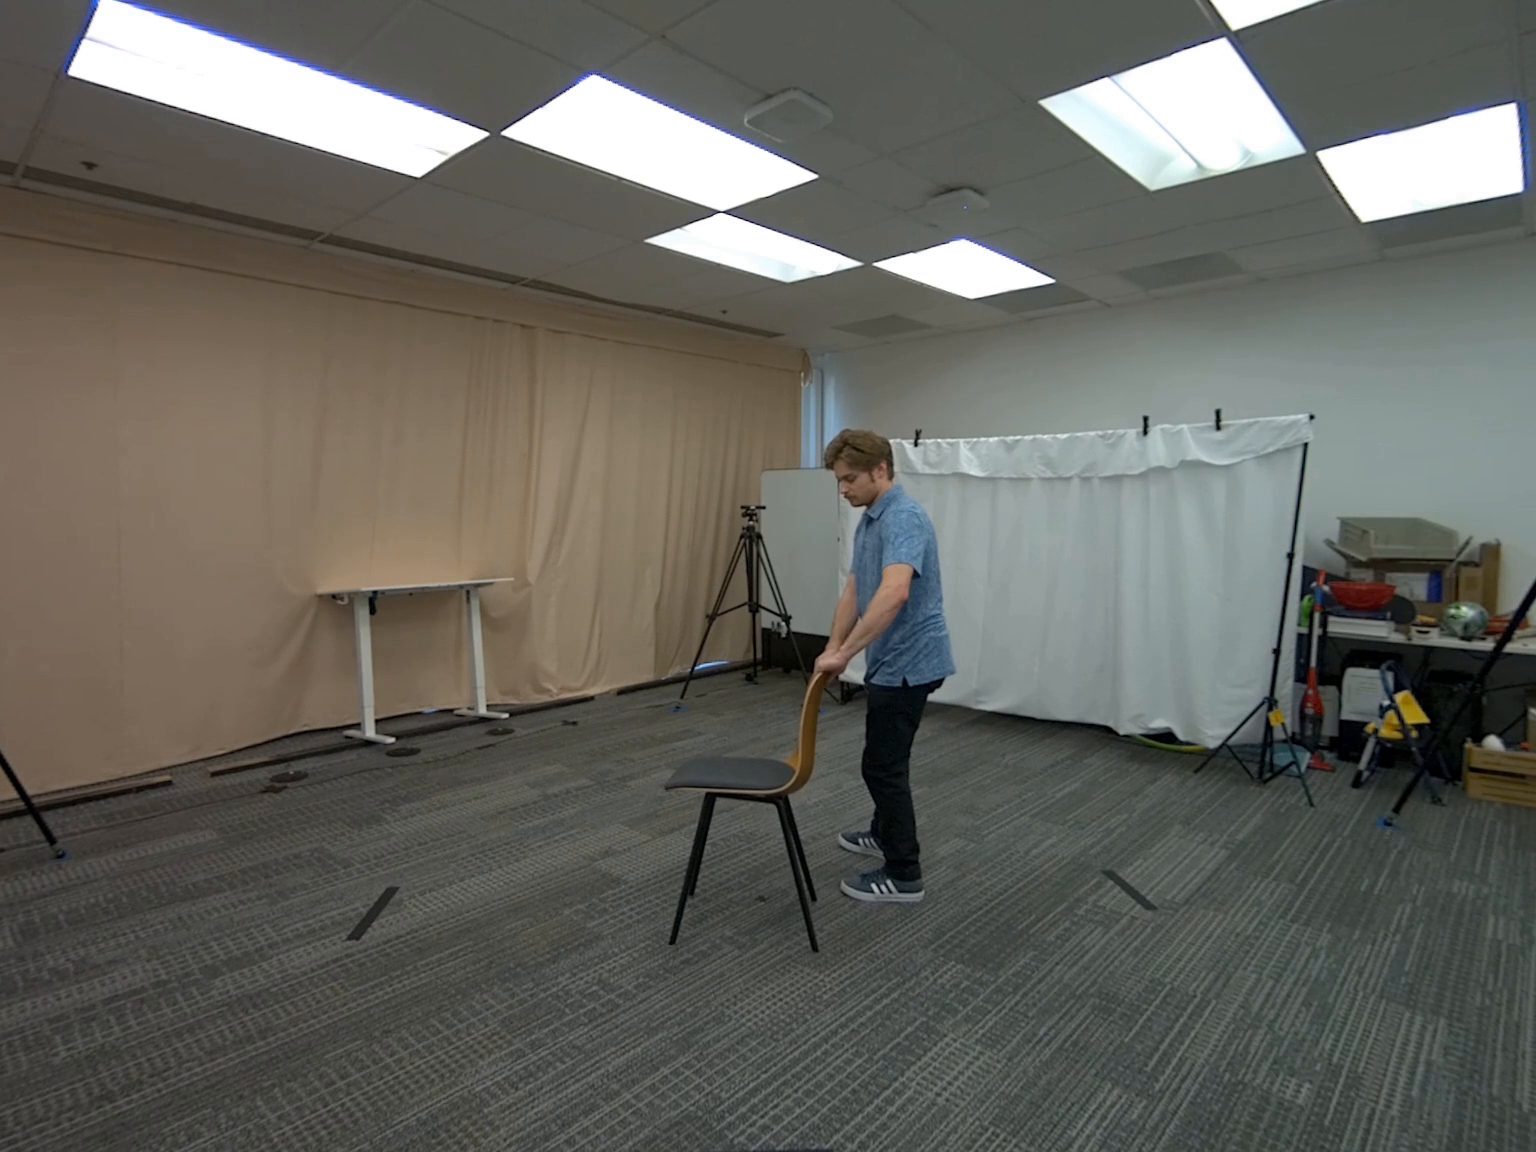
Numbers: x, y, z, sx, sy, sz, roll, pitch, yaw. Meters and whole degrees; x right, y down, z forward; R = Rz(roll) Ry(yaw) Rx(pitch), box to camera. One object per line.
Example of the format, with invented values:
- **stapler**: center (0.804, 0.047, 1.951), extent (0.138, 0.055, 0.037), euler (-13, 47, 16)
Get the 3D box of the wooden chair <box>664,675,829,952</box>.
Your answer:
- **wooden chair**: center (-0.072, 0.714, 2.785), extent (0.527, 0.879, 0.474), euler (4, -3, 5)
